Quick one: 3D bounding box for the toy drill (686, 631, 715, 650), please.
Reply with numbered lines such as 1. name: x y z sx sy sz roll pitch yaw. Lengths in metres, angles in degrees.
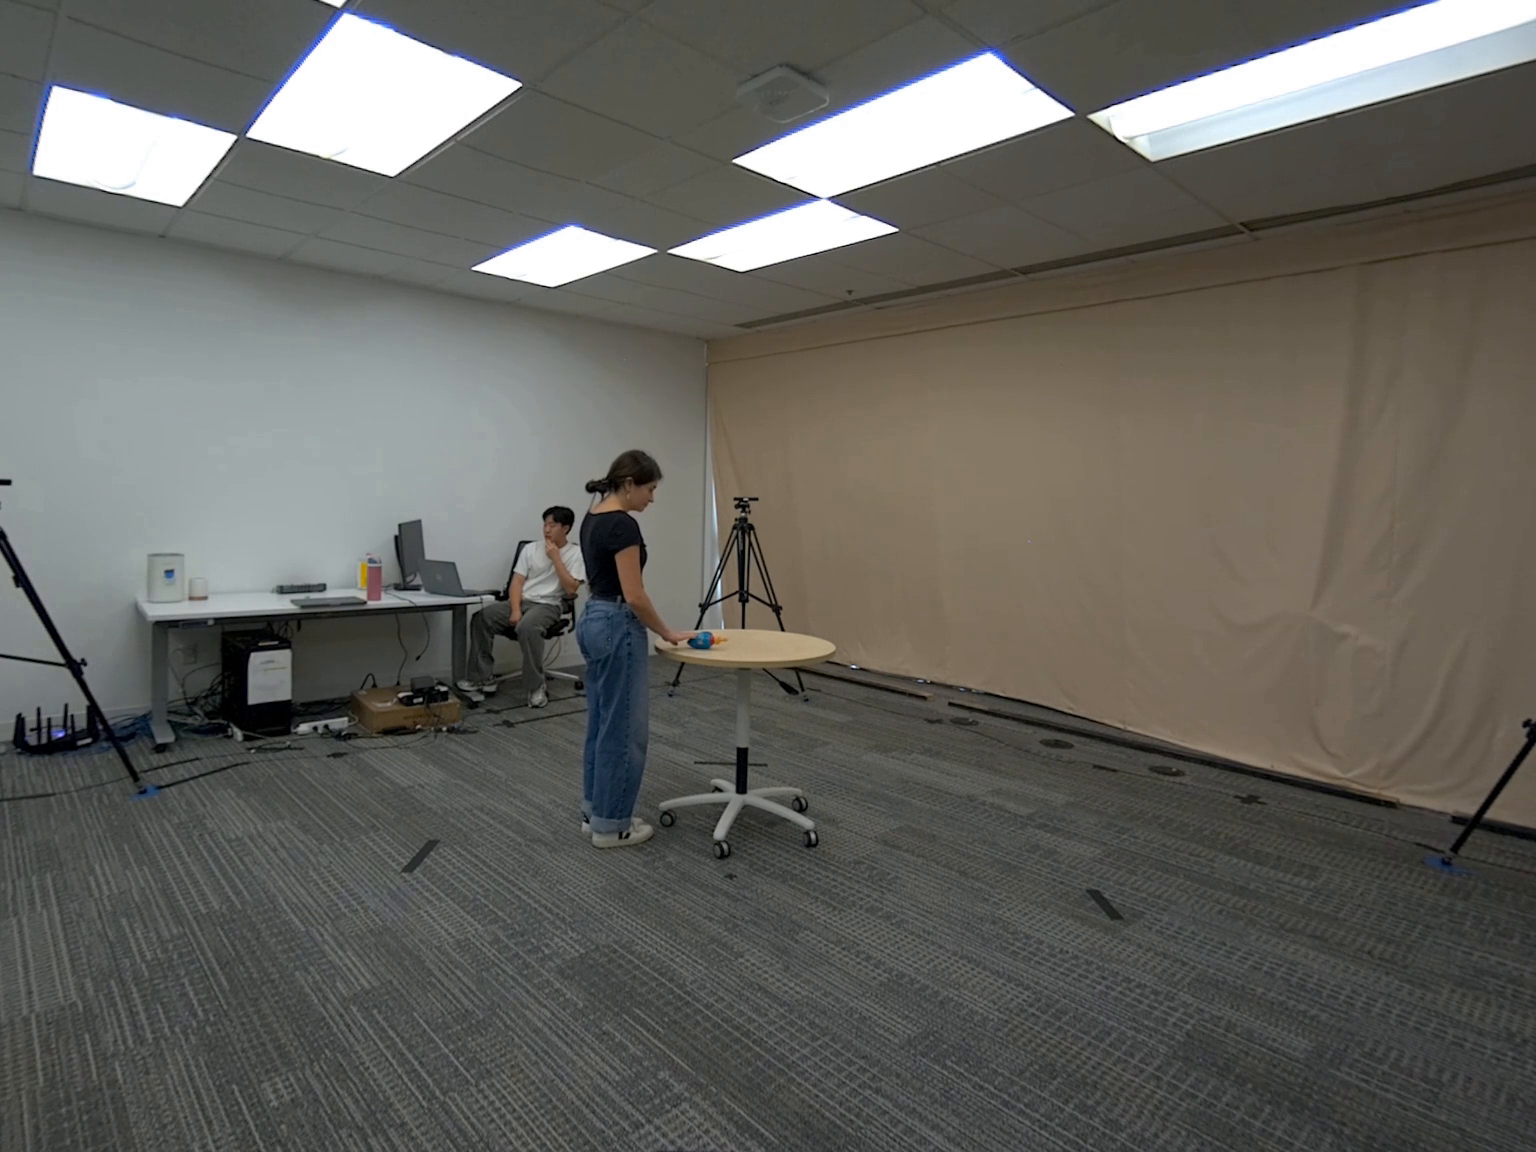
1. toy drill: -0.246 0.262 3.444 0.171 0.061 0.145 -4 3 8
